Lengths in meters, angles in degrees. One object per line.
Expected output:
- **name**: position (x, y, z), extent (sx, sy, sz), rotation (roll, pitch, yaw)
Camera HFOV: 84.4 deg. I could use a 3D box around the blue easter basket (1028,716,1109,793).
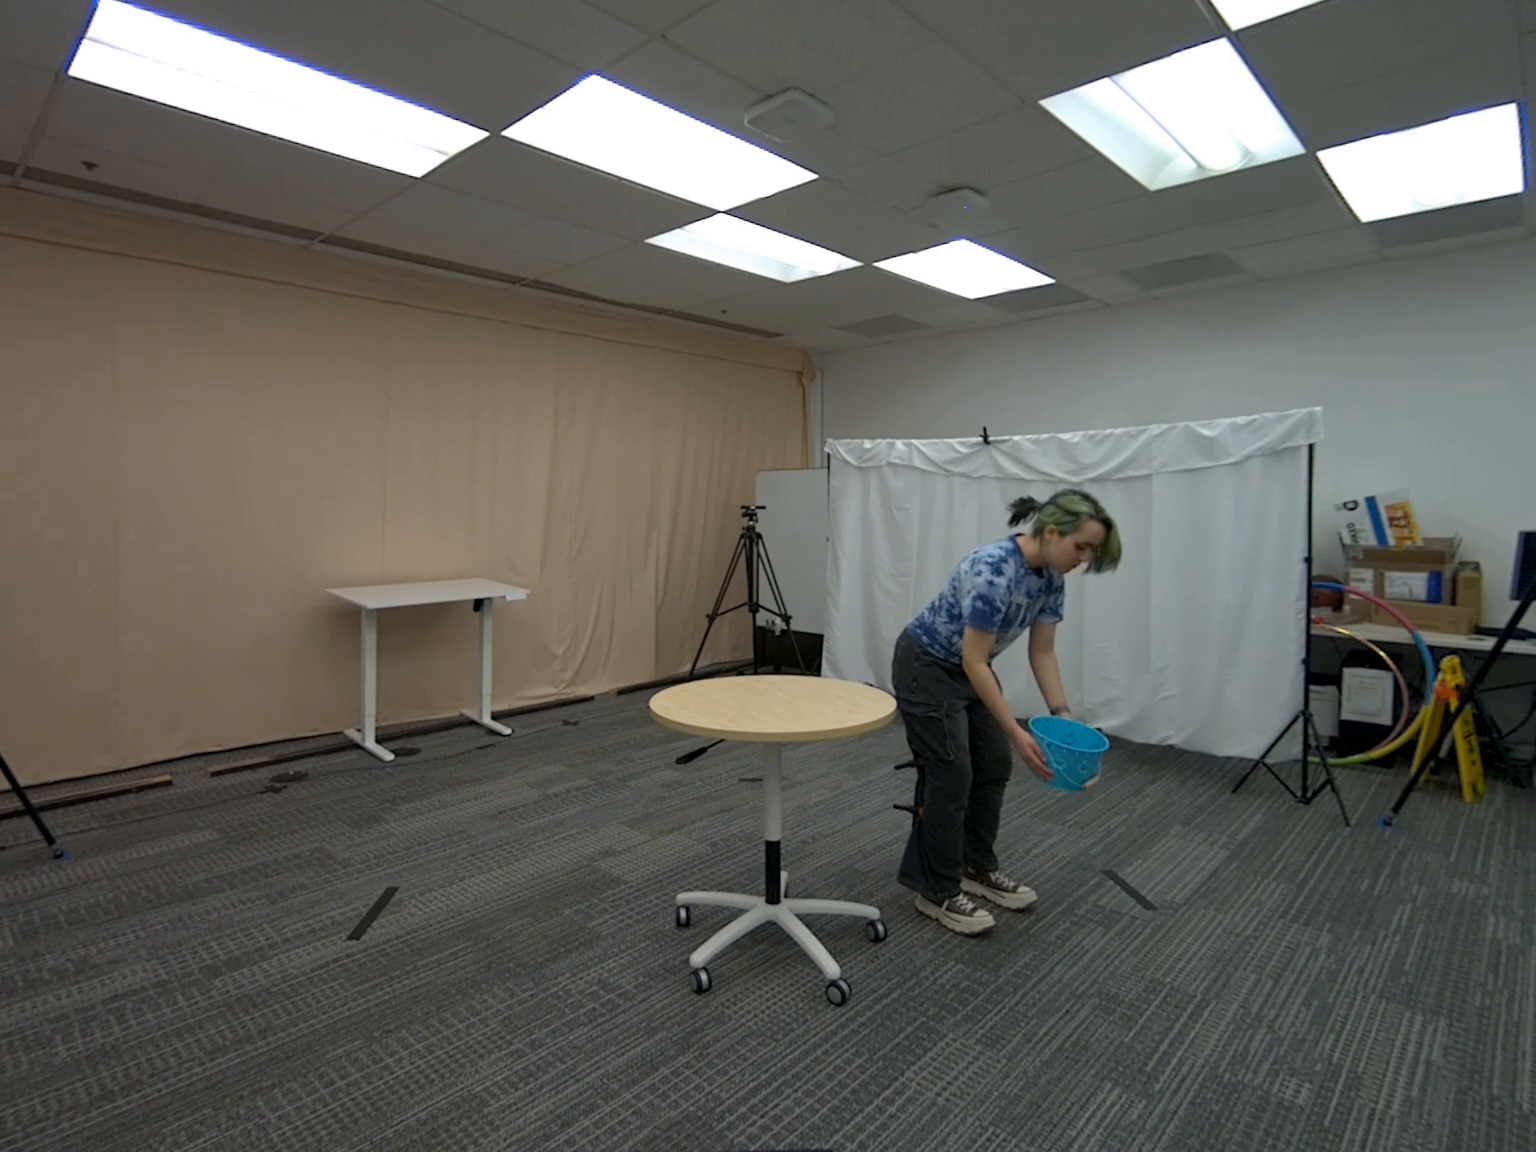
- **blue easter basket**: position (0.913, 0.555, 2.613), extent (0.243, 0.155, 0.246), rotation (7, 13, -4)
